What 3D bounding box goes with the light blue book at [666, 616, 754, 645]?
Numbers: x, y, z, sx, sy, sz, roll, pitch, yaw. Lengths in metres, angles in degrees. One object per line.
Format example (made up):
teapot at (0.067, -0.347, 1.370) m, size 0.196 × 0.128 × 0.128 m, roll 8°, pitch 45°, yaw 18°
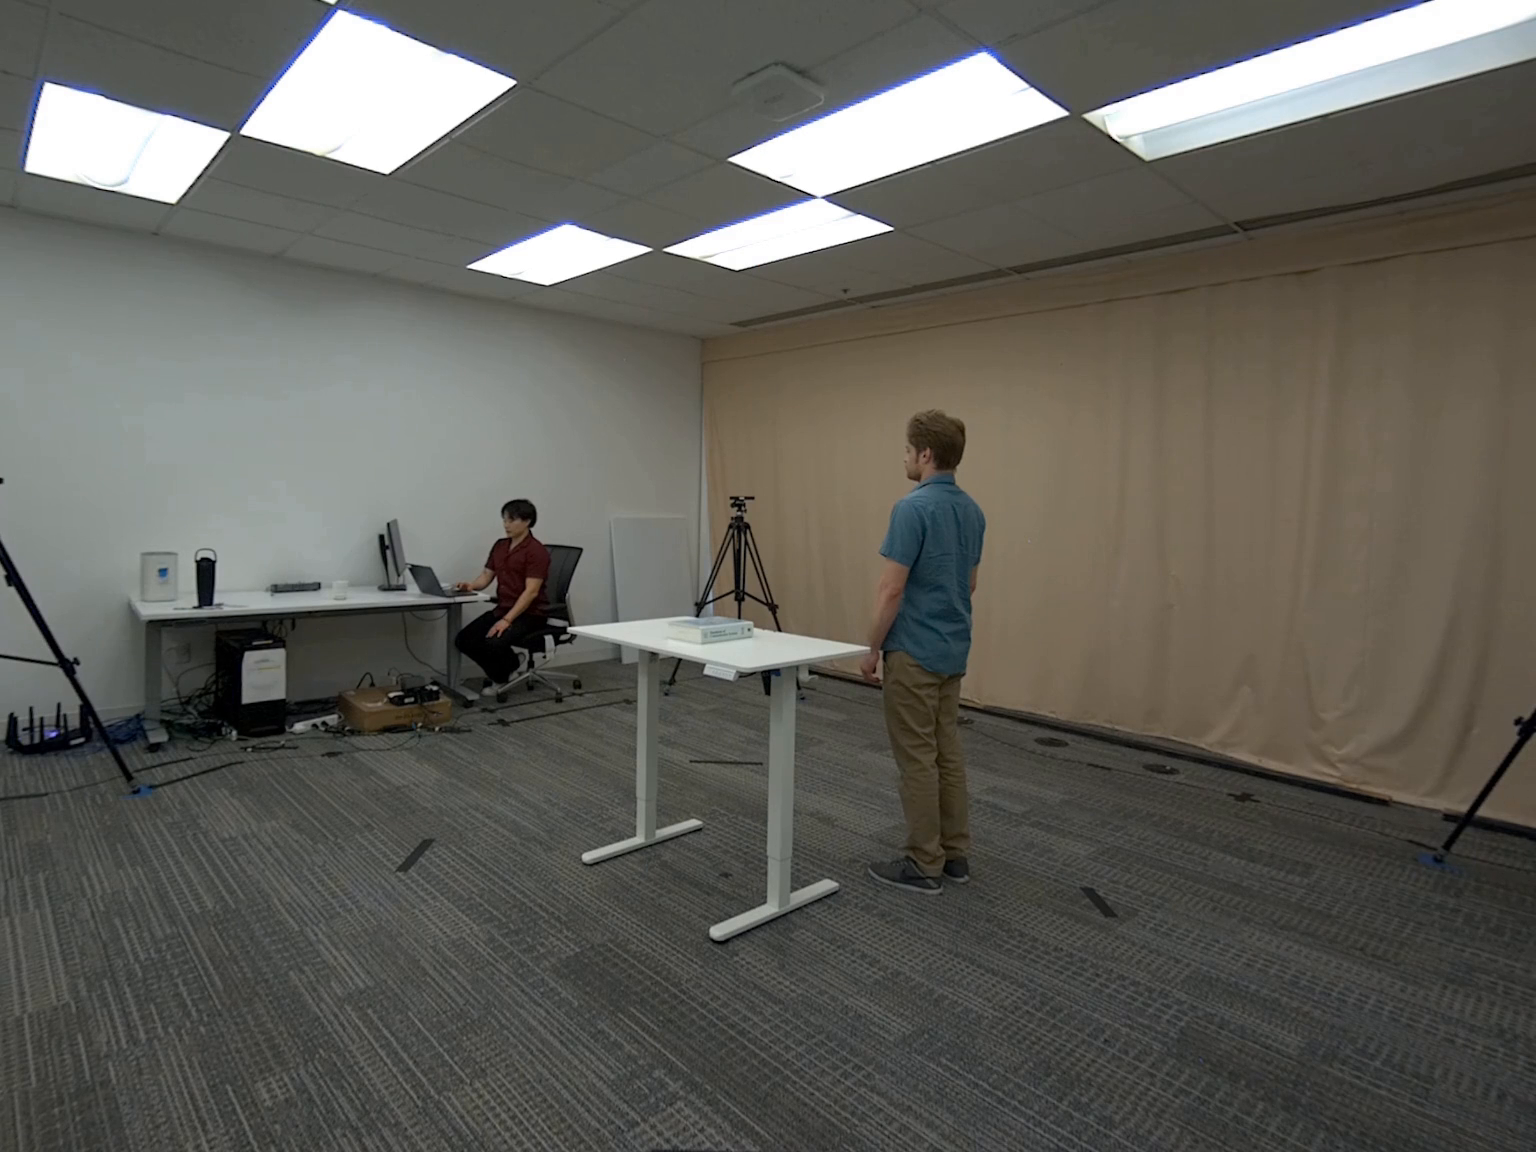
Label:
light blue book at (-0.215, 0.196, 3.057) m, size 0.196 × 0.059 × 0.255 m, roll 6°, pitch 7°, yaw 44°
